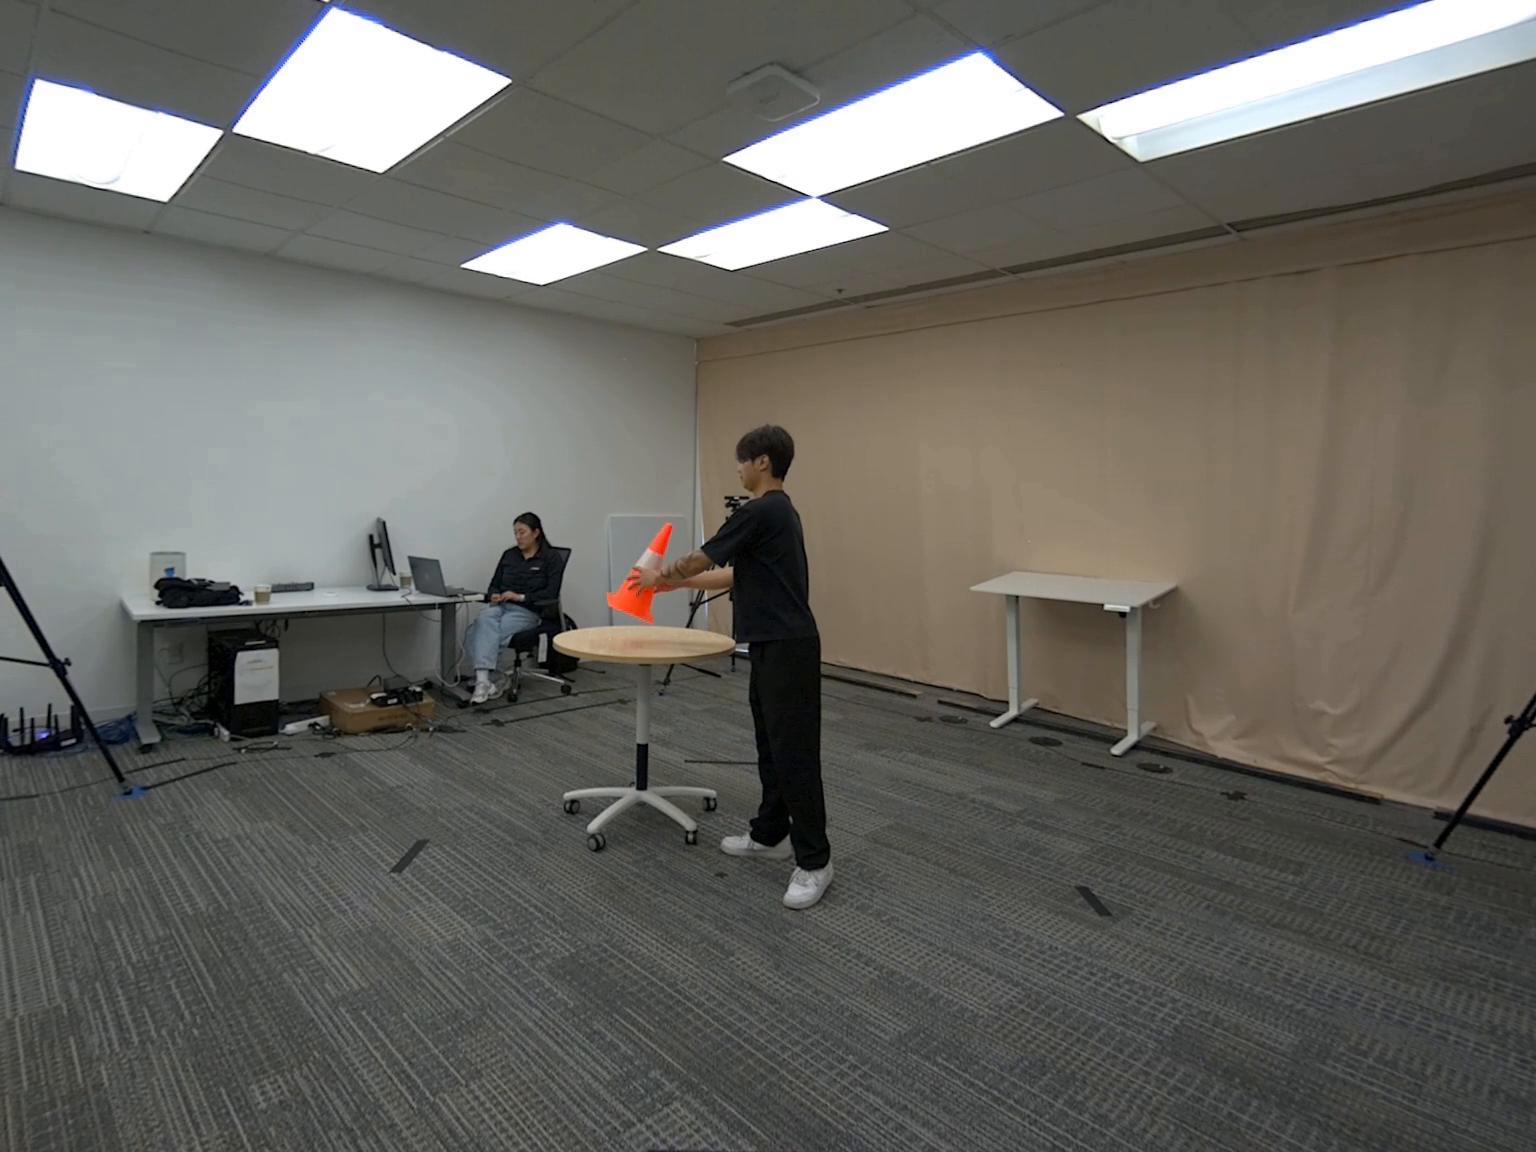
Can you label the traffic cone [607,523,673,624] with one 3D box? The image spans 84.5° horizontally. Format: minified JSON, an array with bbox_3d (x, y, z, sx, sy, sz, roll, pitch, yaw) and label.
[{"bbox_3d":[-0.482,-0.036,3.404,0.201,0.383,0.207,24,8,-18],"label":"traffic cone"}]
